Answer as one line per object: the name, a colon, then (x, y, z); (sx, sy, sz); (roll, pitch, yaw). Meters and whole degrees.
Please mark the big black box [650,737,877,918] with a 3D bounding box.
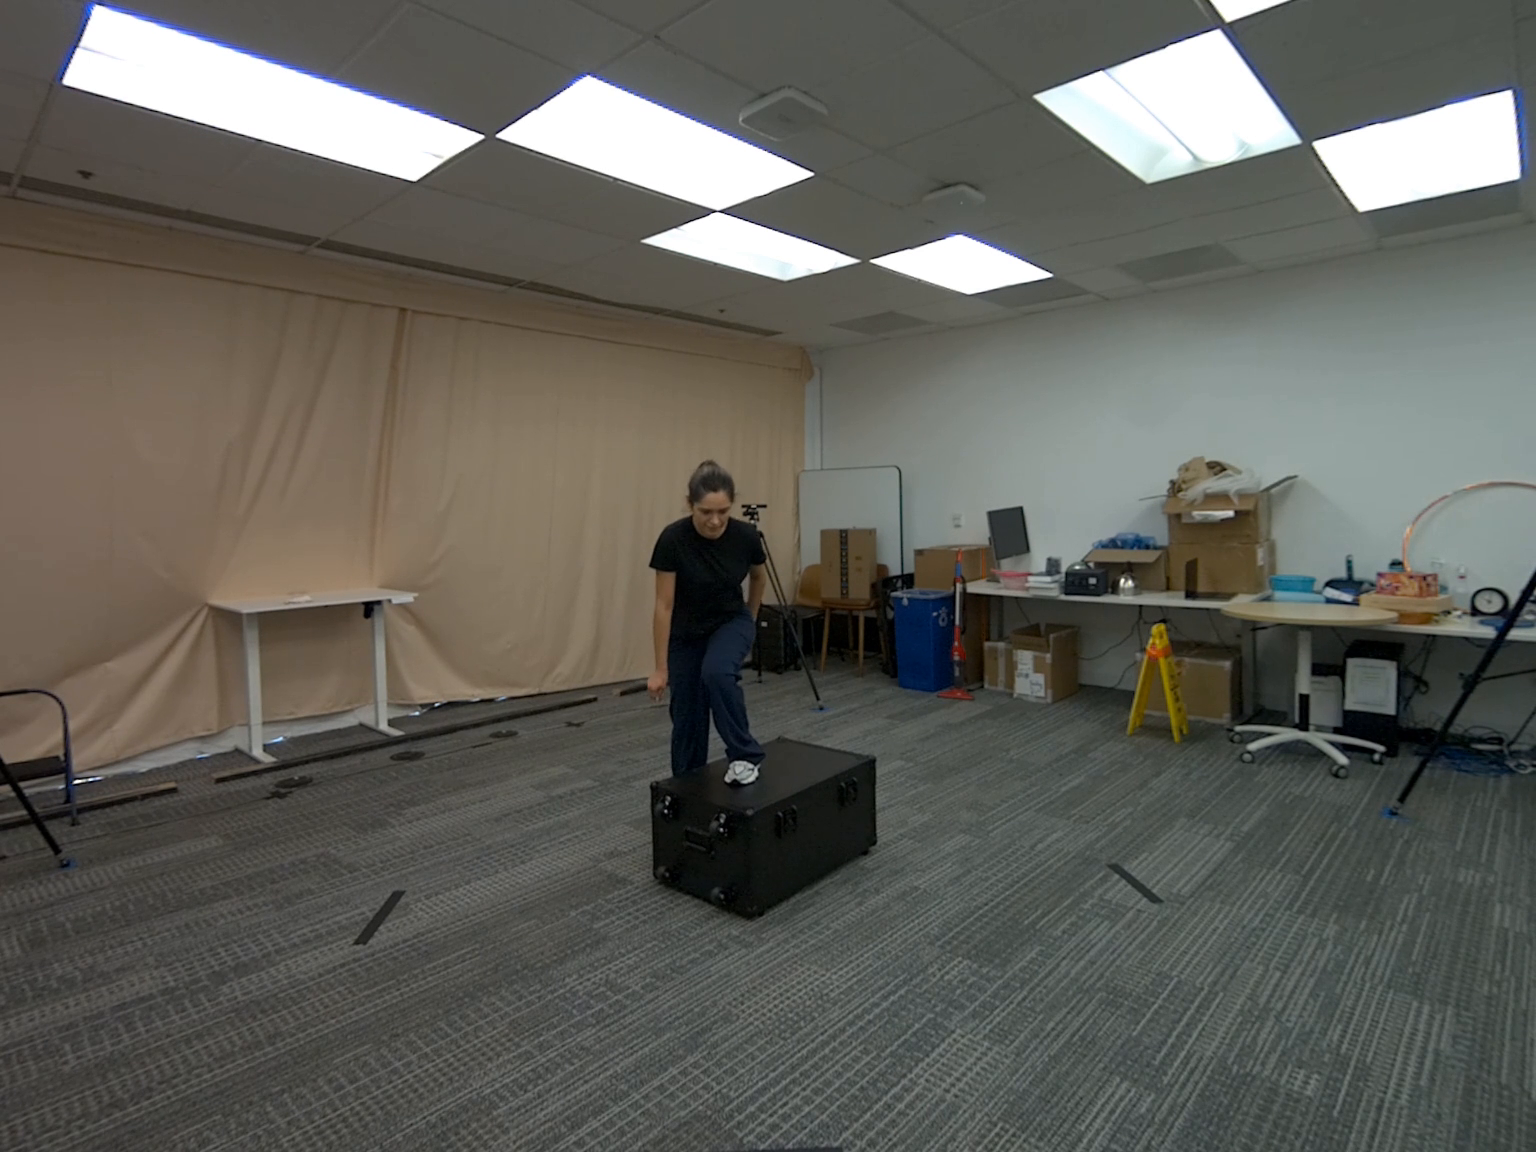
big black box: (-0.003, 0.932, 3.212); (0.538, 0.395, 0.836); (2, 5, 40)
